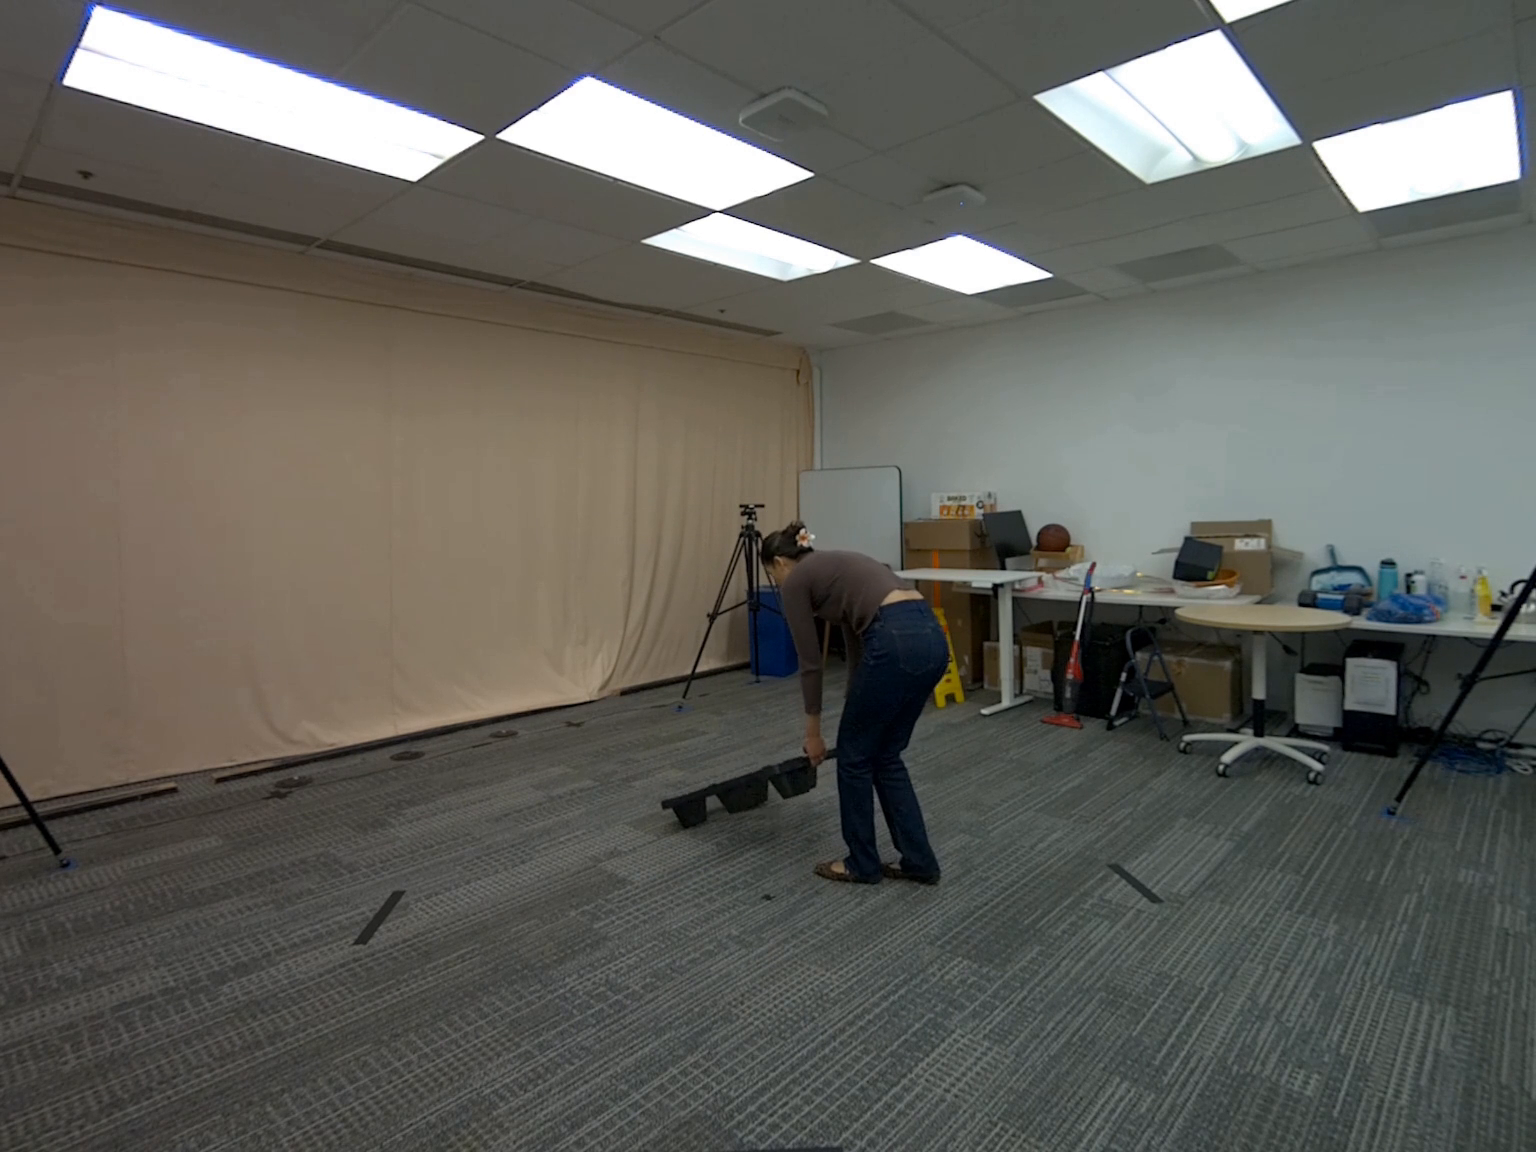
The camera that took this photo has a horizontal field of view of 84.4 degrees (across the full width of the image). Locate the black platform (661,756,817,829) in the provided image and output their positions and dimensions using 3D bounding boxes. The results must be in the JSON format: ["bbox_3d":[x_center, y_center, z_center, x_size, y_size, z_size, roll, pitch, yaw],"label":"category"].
[{"bbox_3d":[0.011,0.879,3.558,0.587,0.145,0.819,-6,-18,-43],"label":"black platform"}]
